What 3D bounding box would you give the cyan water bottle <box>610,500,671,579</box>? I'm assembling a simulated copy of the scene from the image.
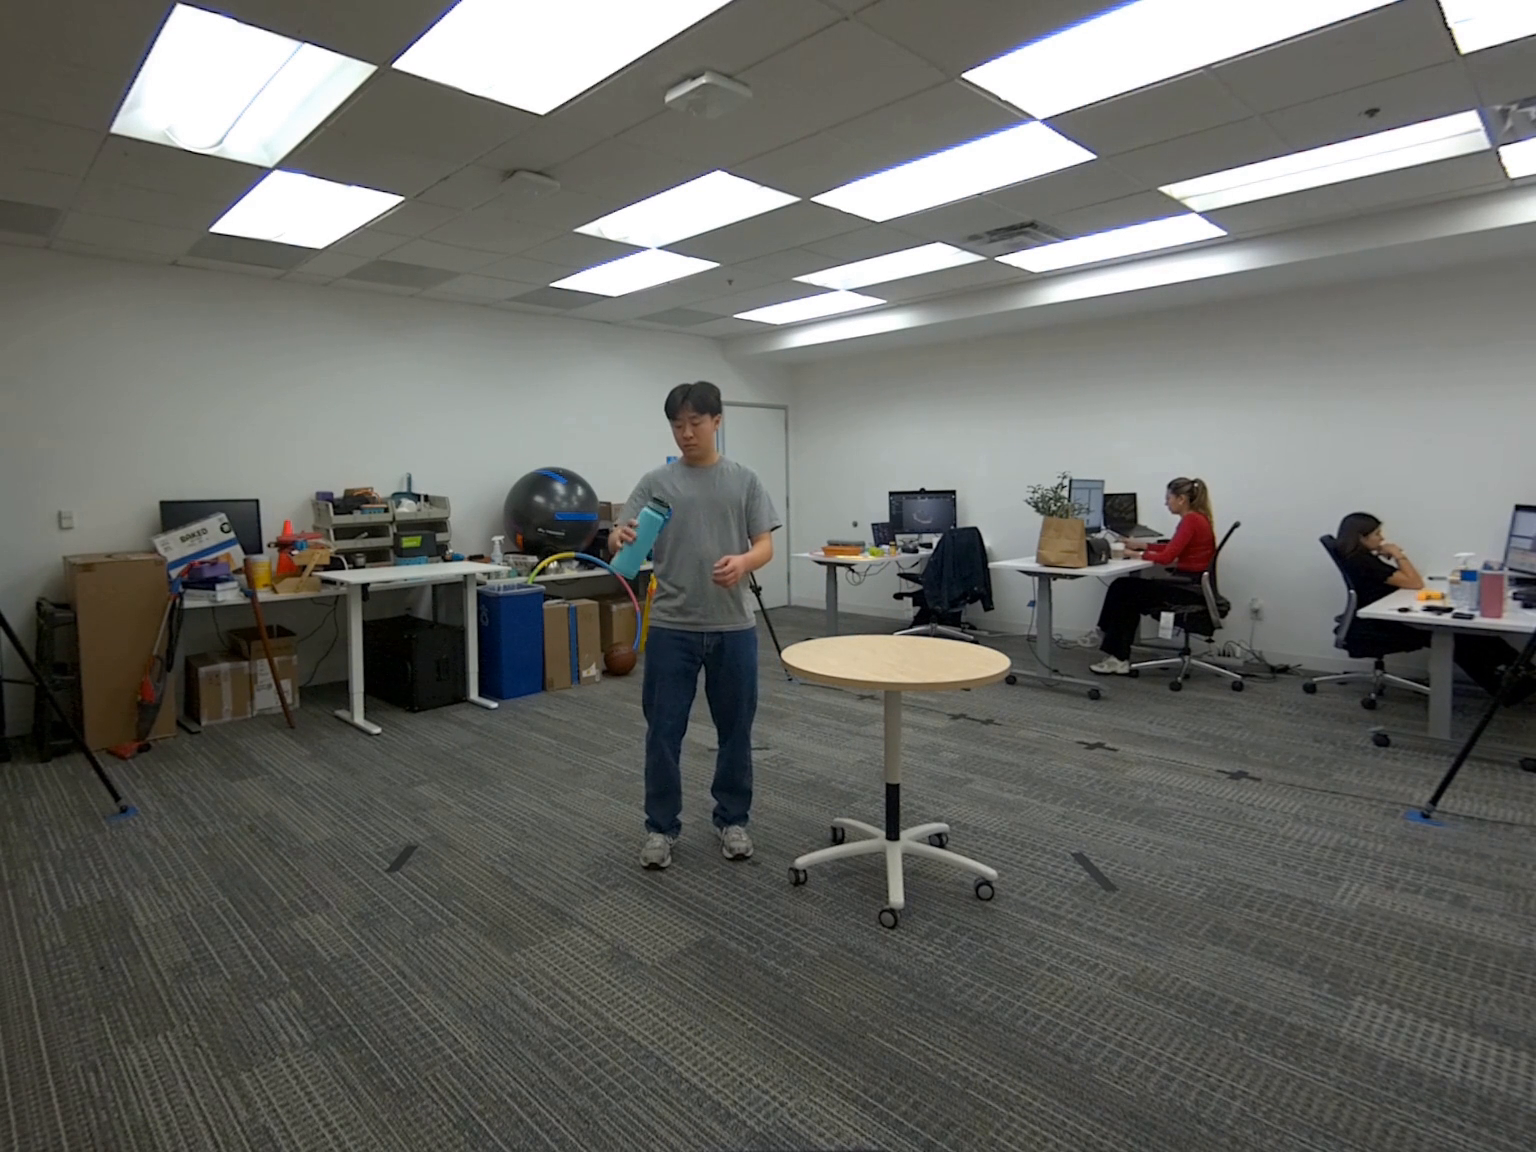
[{"bbox_3d":[-0.401,-0.125,2.752,0.092,0.283,0.093,30,4,-4],"label":"cyan water bottle"}]
